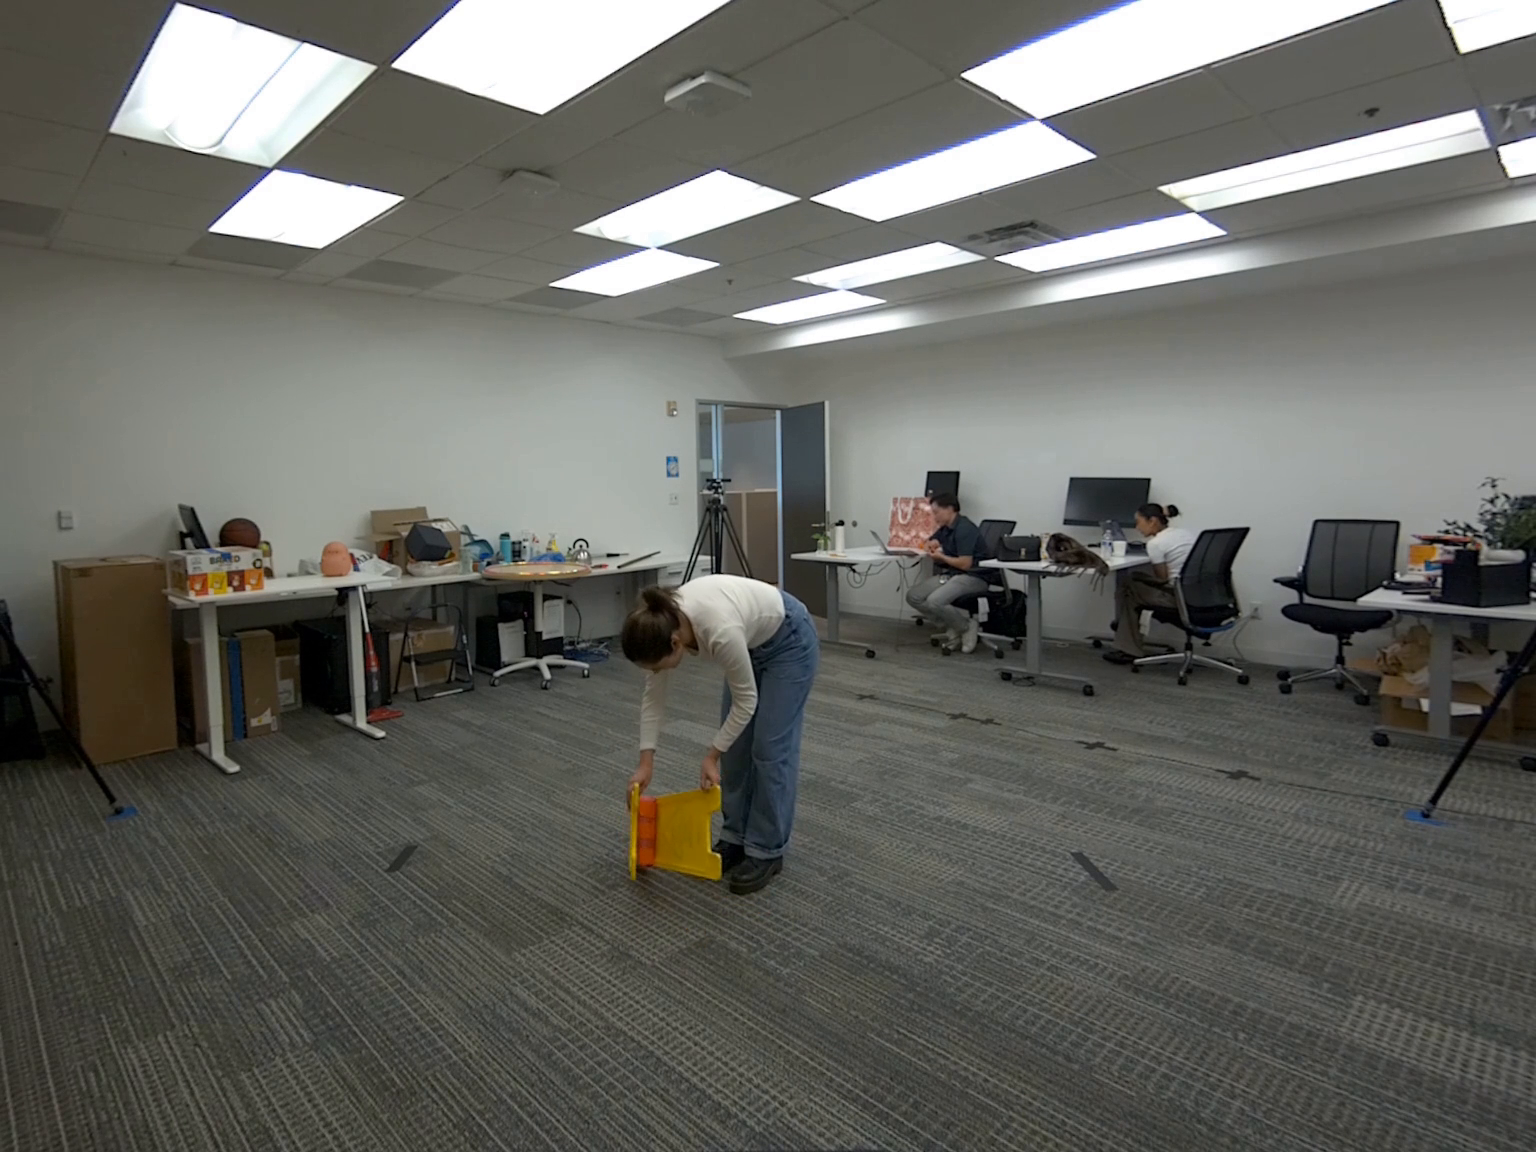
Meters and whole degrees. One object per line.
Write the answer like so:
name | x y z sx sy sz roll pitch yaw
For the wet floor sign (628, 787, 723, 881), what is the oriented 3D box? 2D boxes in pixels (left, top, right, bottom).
wet floor sign | -0.383 0.875 2.913 0.285 0.286 0.647 6 -17 -18
